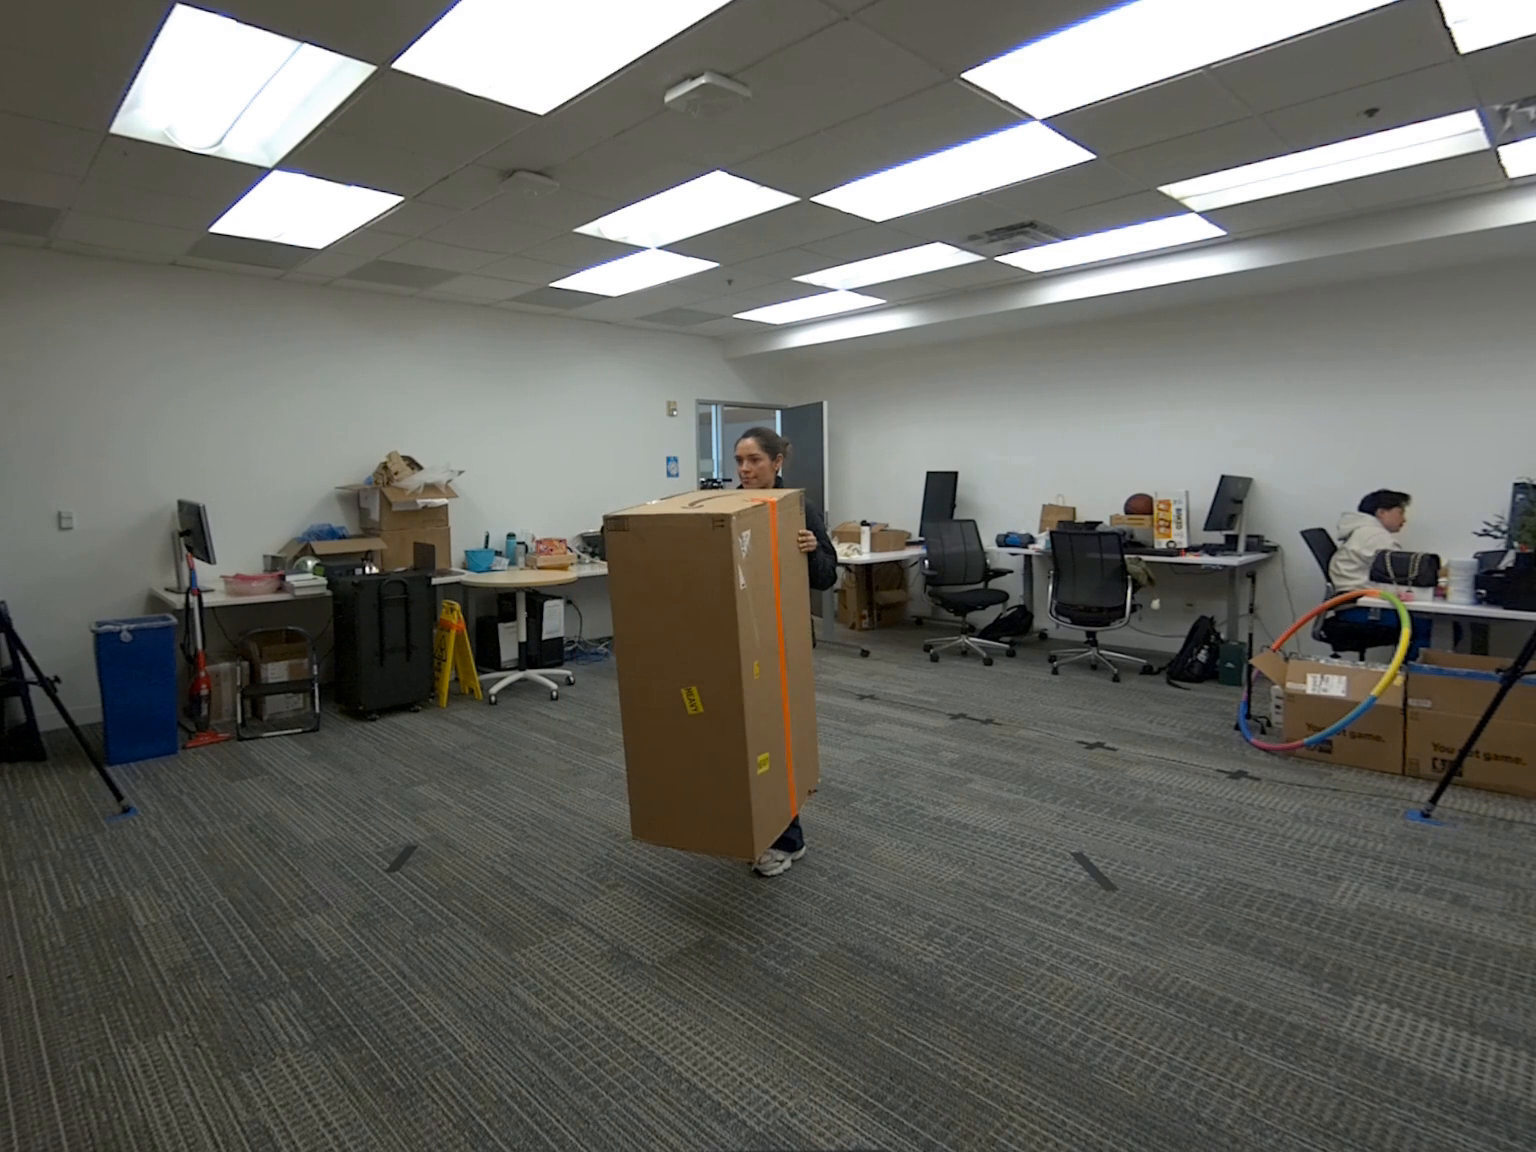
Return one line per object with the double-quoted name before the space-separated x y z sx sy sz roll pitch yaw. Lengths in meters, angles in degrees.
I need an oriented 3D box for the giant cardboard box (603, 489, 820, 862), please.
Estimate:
"giant cardboard box" -0.165 0.268 2.749 0.436 1.017 0.569 0 10 26
